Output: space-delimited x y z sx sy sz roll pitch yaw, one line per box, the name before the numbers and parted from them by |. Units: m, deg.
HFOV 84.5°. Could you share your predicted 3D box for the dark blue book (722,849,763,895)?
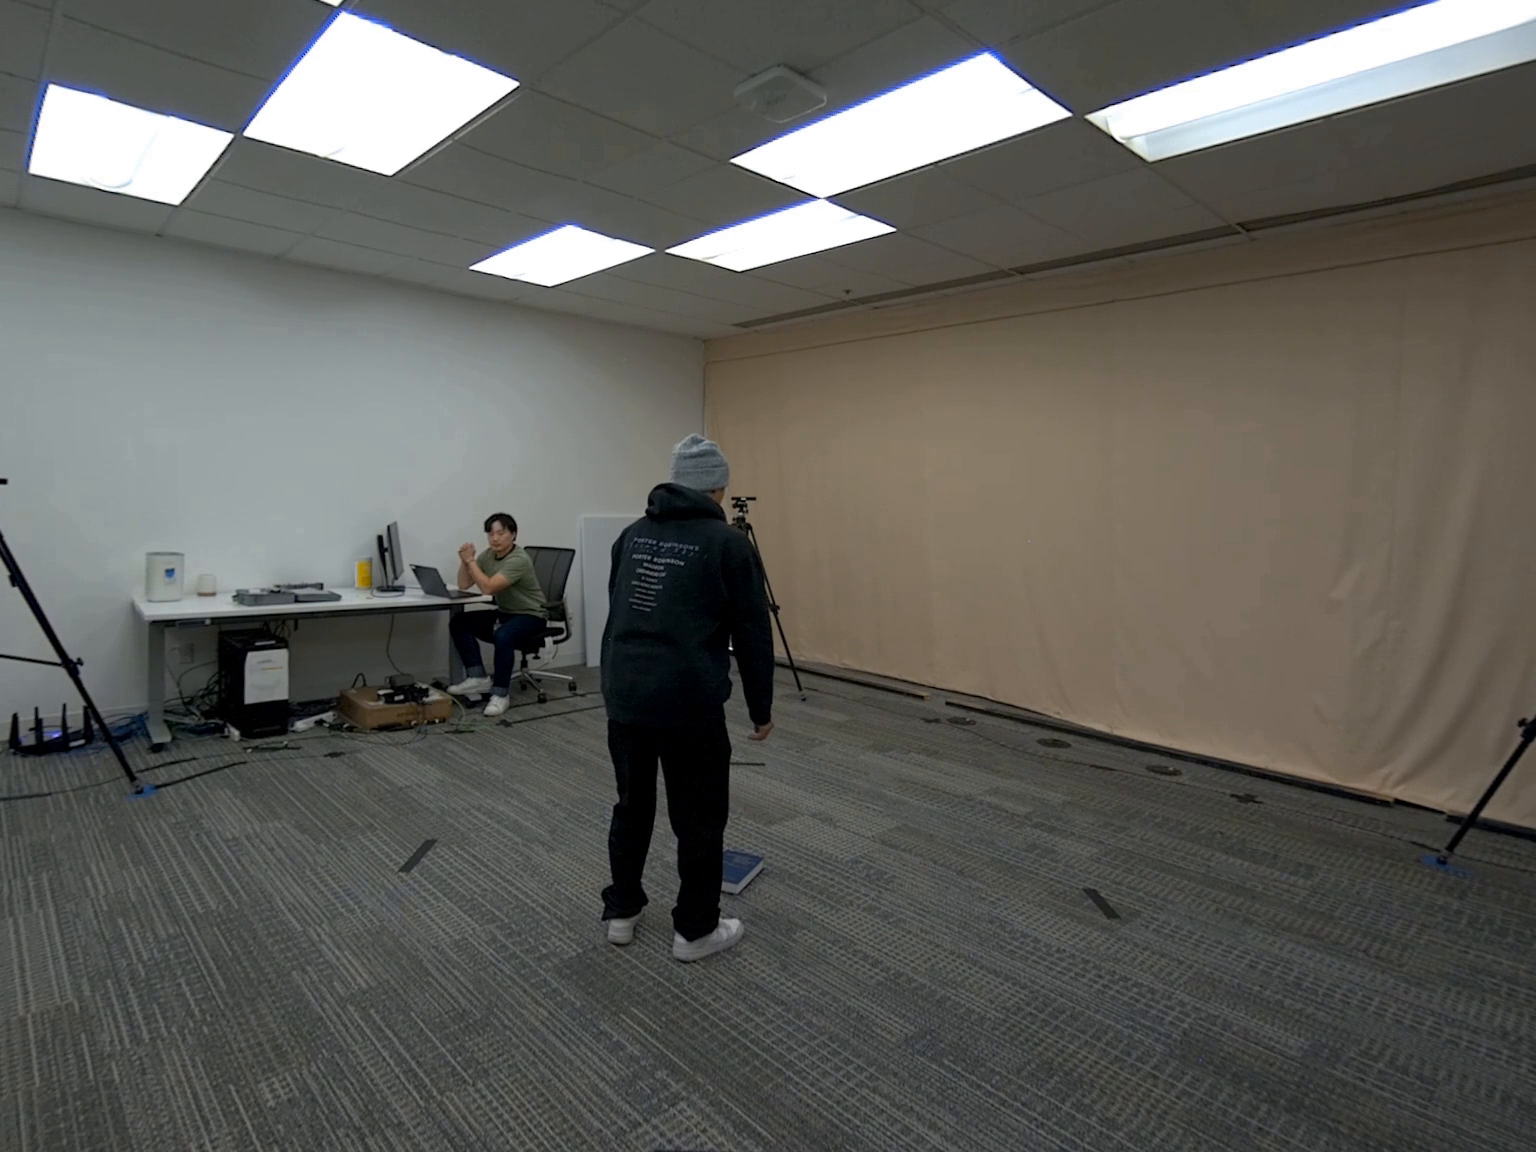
dark blue book | -0.138 1.082 3.087 0.166 0.045 0.241 4 6 23
